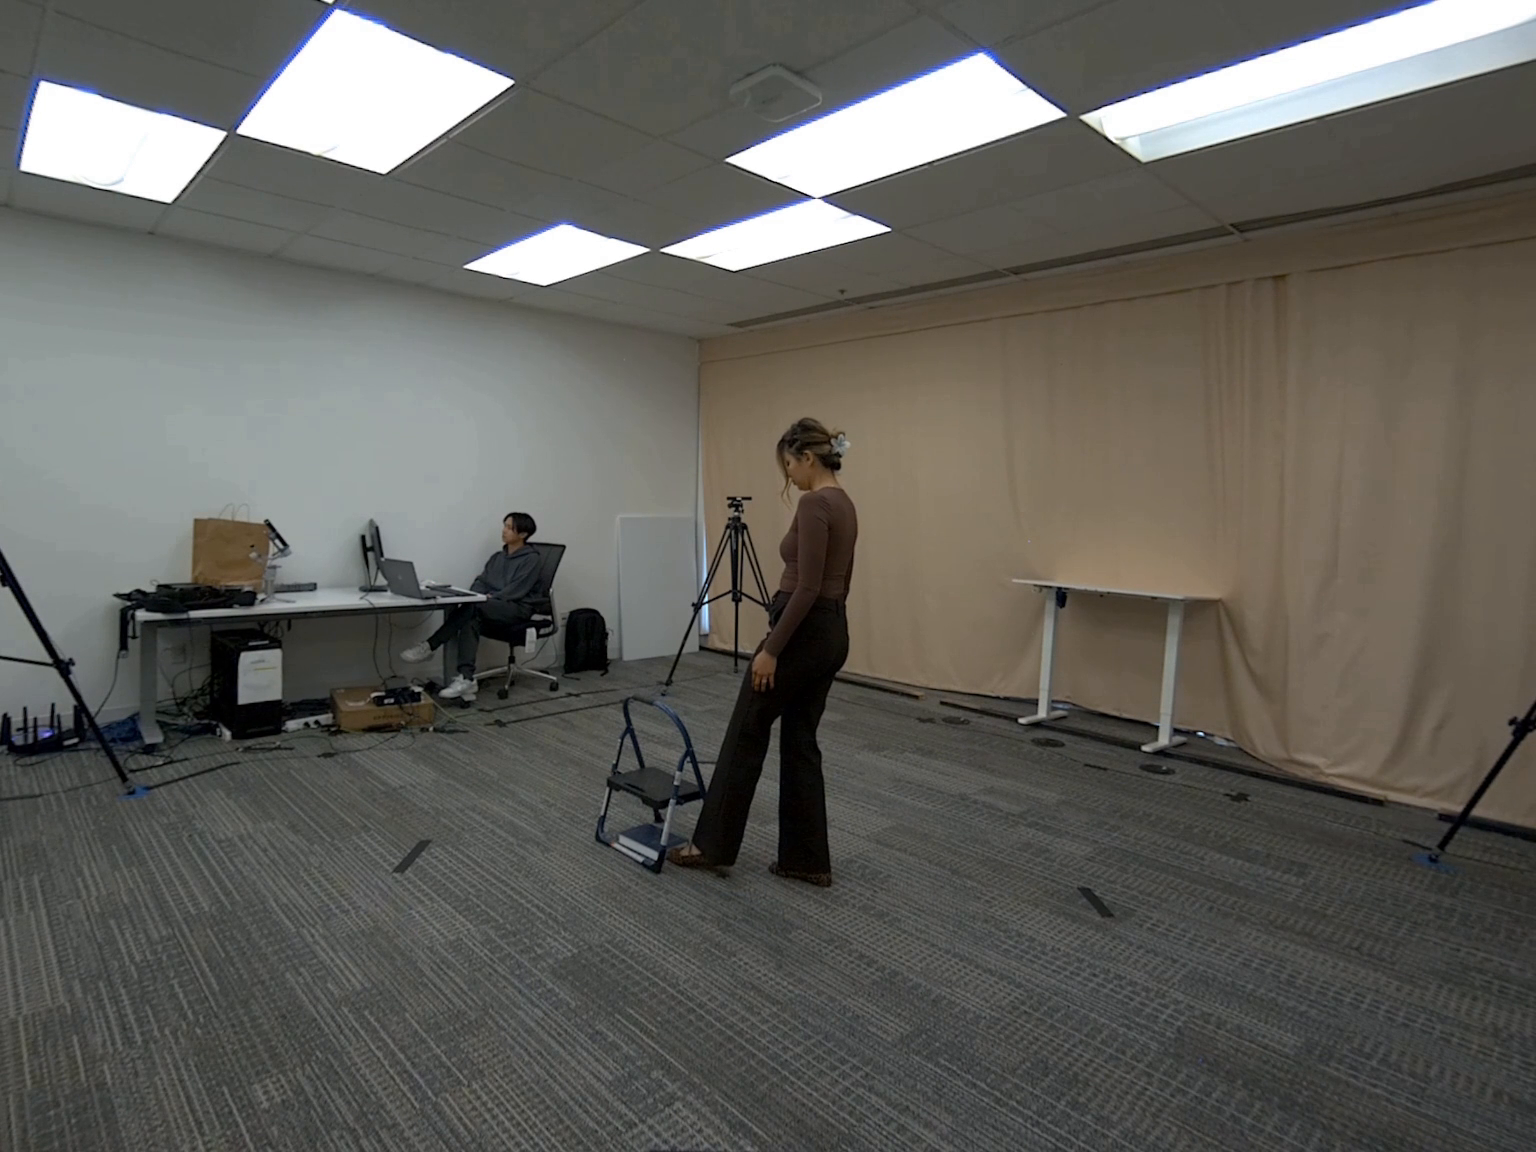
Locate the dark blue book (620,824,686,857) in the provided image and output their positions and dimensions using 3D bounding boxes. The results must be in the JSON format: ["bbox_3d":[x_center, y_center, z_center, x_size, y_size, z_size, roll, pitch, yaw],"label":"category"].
[{"bbox_3d":[-0.462,1.048,3.342,0.251,0.045,0.160,7,7,42],"label":"dark blue book"}]
